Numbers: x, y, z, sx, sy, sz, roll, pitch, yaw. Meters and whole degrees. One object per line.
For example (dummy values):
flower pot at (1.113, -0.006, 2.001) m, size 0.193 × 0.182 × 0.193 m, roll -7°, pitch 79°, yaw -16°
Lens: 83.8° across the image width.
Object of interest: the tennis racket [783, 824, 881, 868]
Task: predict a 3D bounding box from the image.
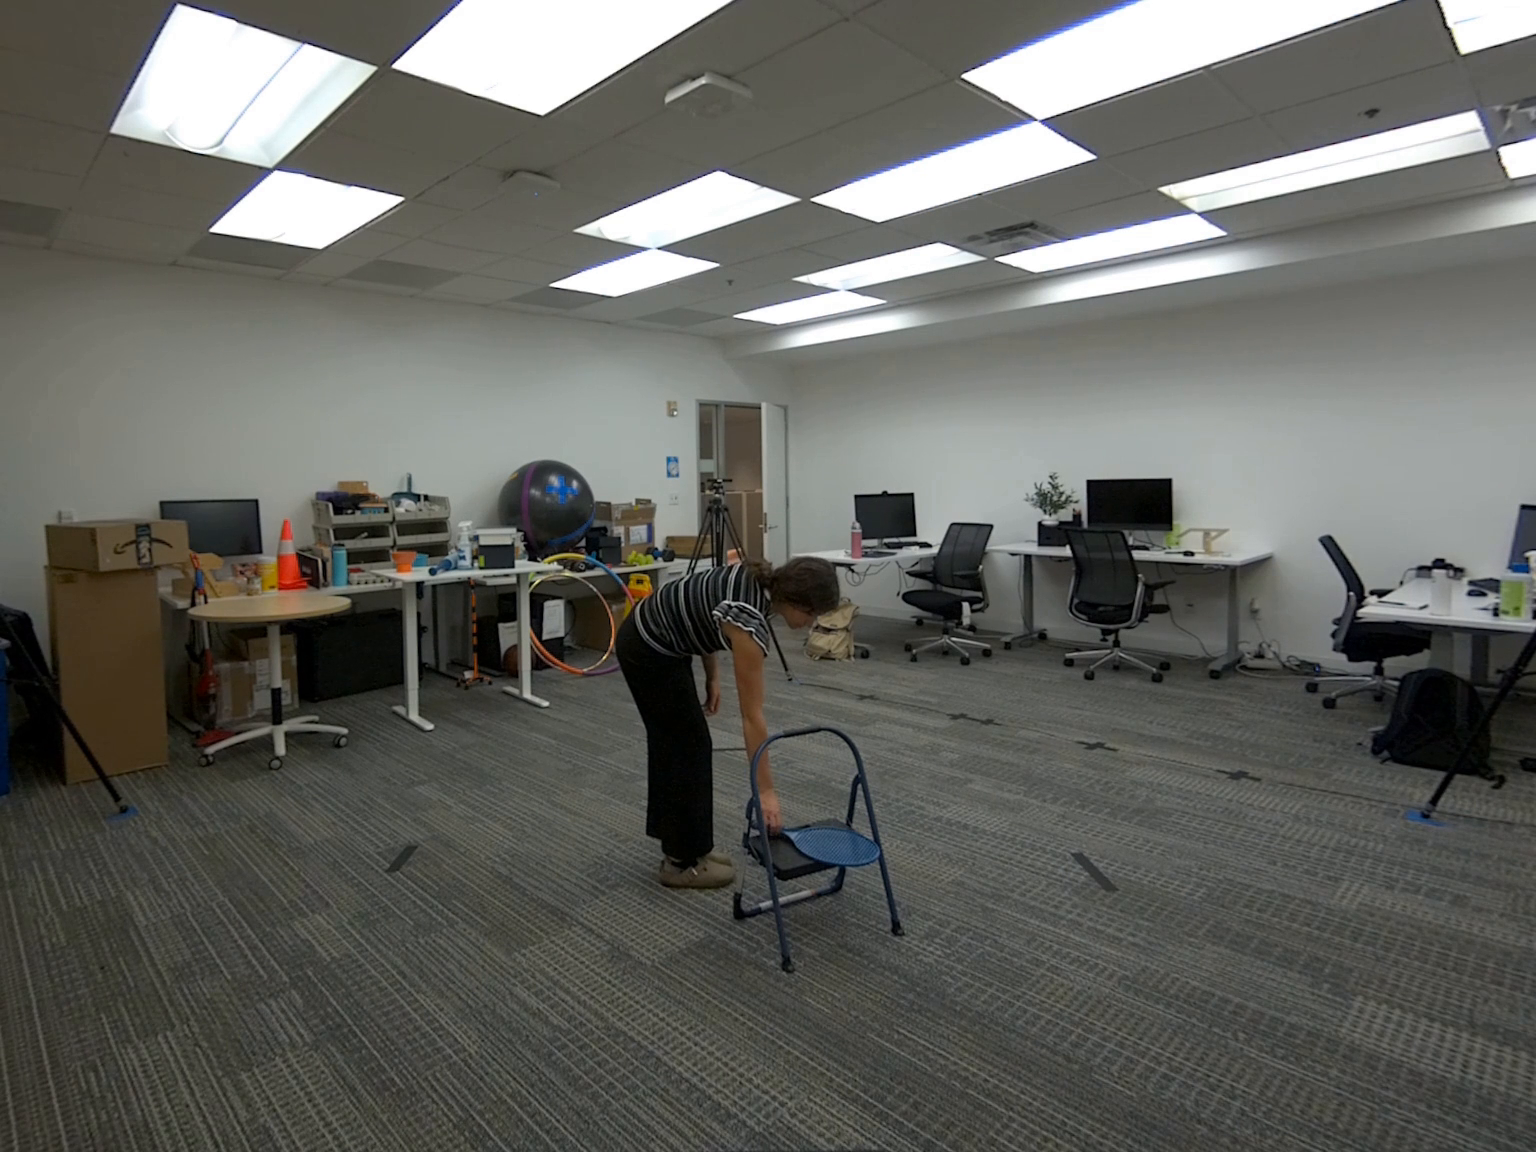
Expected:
tennis racket at (0.123, 0.822, 2.657) m, size 0.441 × 0.031 × 0.212 m, roll 6°, pitch 14°, yaw 17°
